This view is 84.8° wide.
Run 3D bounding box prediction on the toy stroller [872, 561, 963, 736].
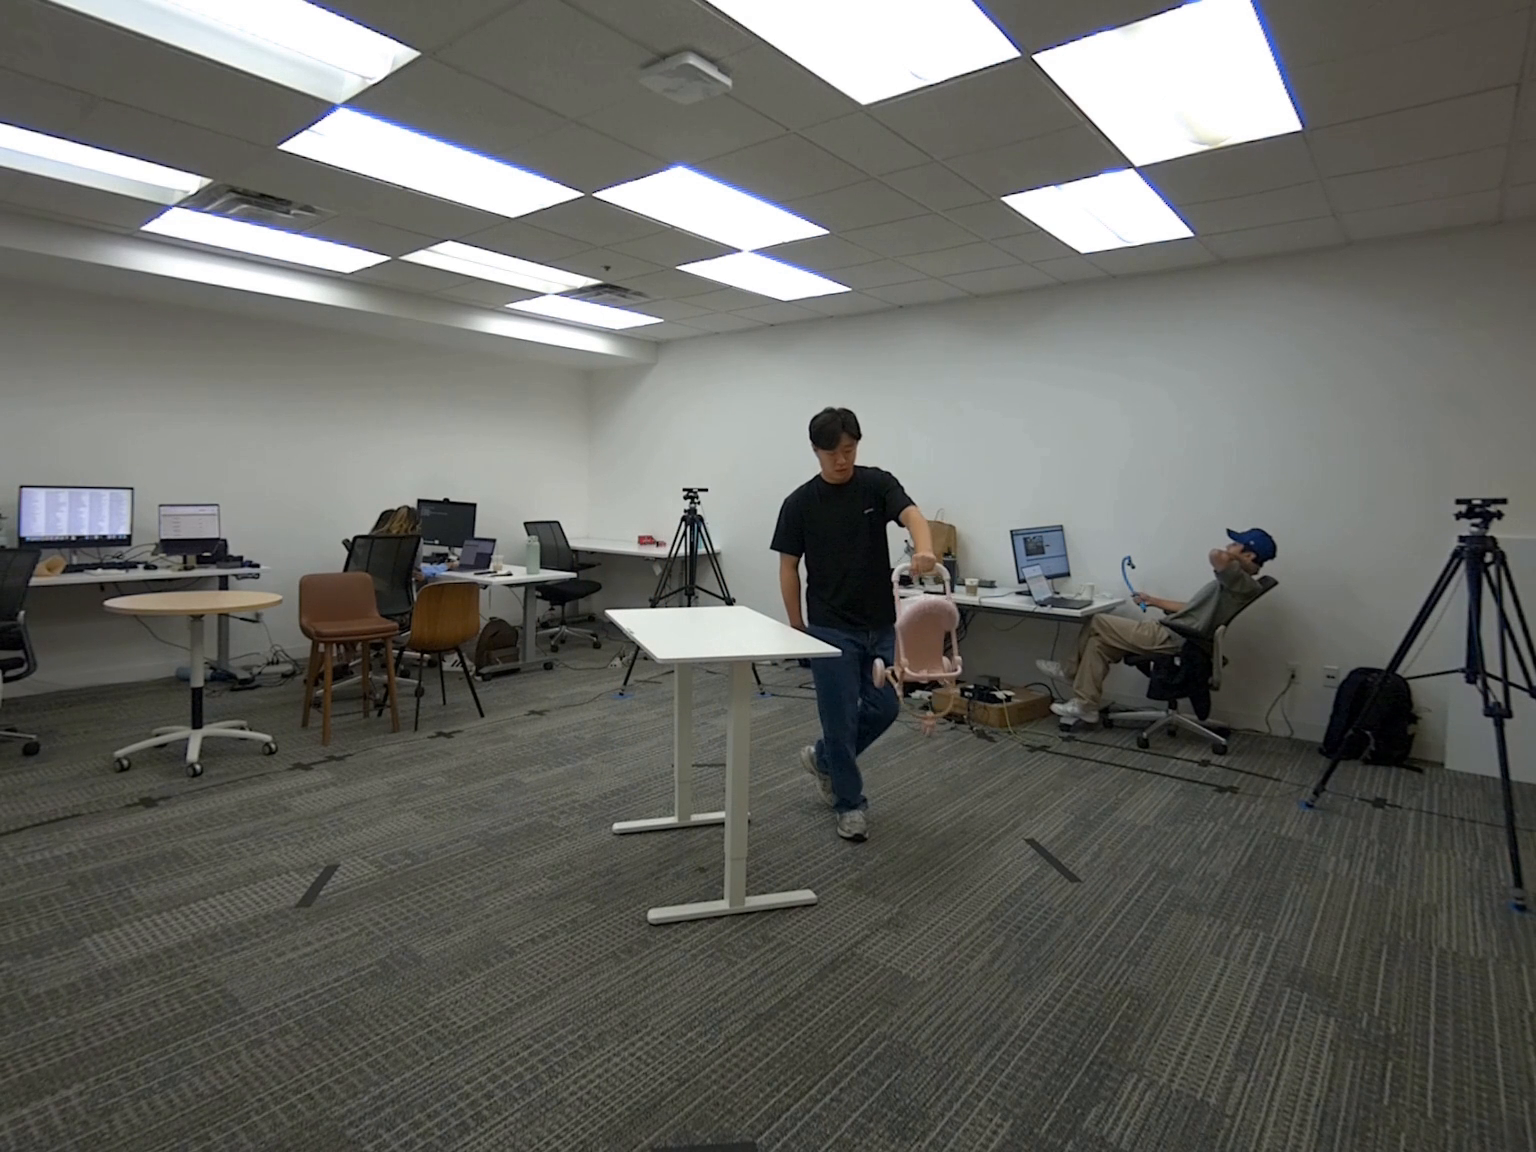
[{"bbox_3d":[0.535,0.262,3.008,0.281,0.524,0.349,1,24,-2],"label":"toy stroller"}]
